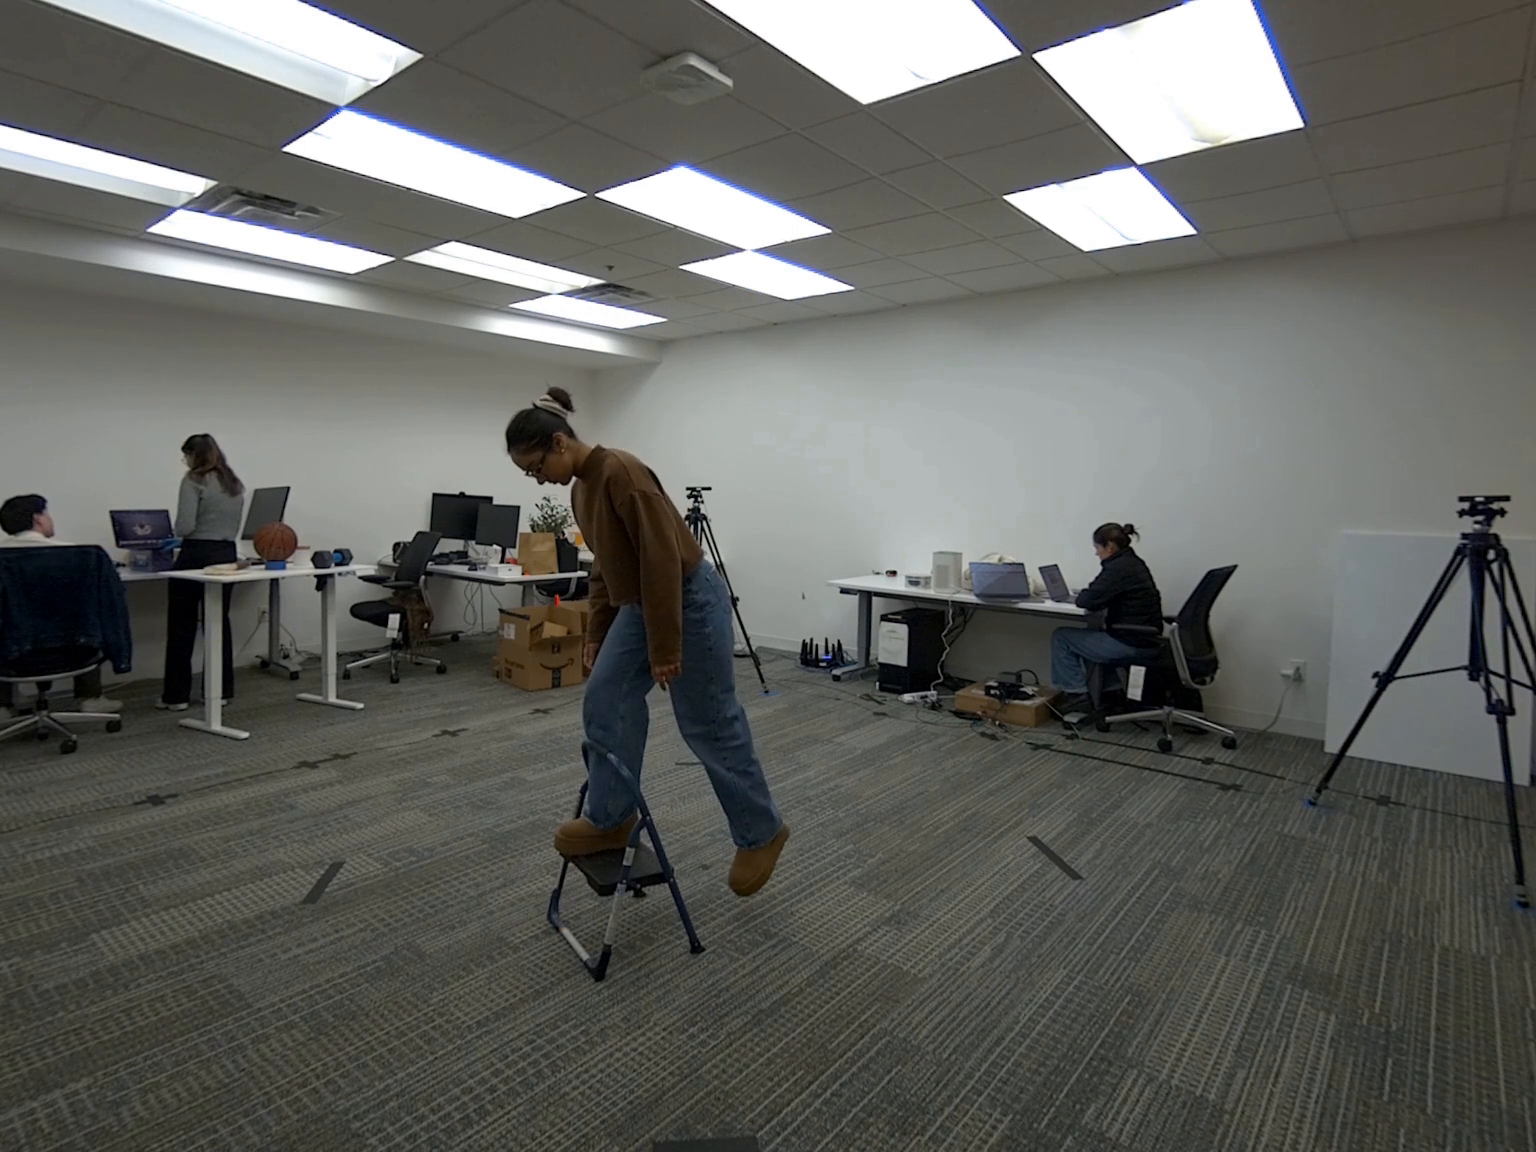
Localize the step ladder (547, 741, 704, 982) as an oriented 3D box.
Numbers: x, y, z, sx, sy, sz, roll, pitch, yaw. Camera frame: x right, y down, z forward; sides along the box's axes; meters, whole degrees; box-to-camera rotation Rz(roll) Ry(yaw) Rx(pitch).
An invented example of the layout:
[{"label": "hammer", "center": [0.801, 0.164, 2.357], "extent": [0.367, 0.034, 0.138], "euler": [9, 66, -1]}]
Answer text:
[{"label": "step ladder", "center": [-0.455, 0.810, 2.623], "extent": [0.339, 0.604, 0.444], "euler": [-2, 4, -34]}]
